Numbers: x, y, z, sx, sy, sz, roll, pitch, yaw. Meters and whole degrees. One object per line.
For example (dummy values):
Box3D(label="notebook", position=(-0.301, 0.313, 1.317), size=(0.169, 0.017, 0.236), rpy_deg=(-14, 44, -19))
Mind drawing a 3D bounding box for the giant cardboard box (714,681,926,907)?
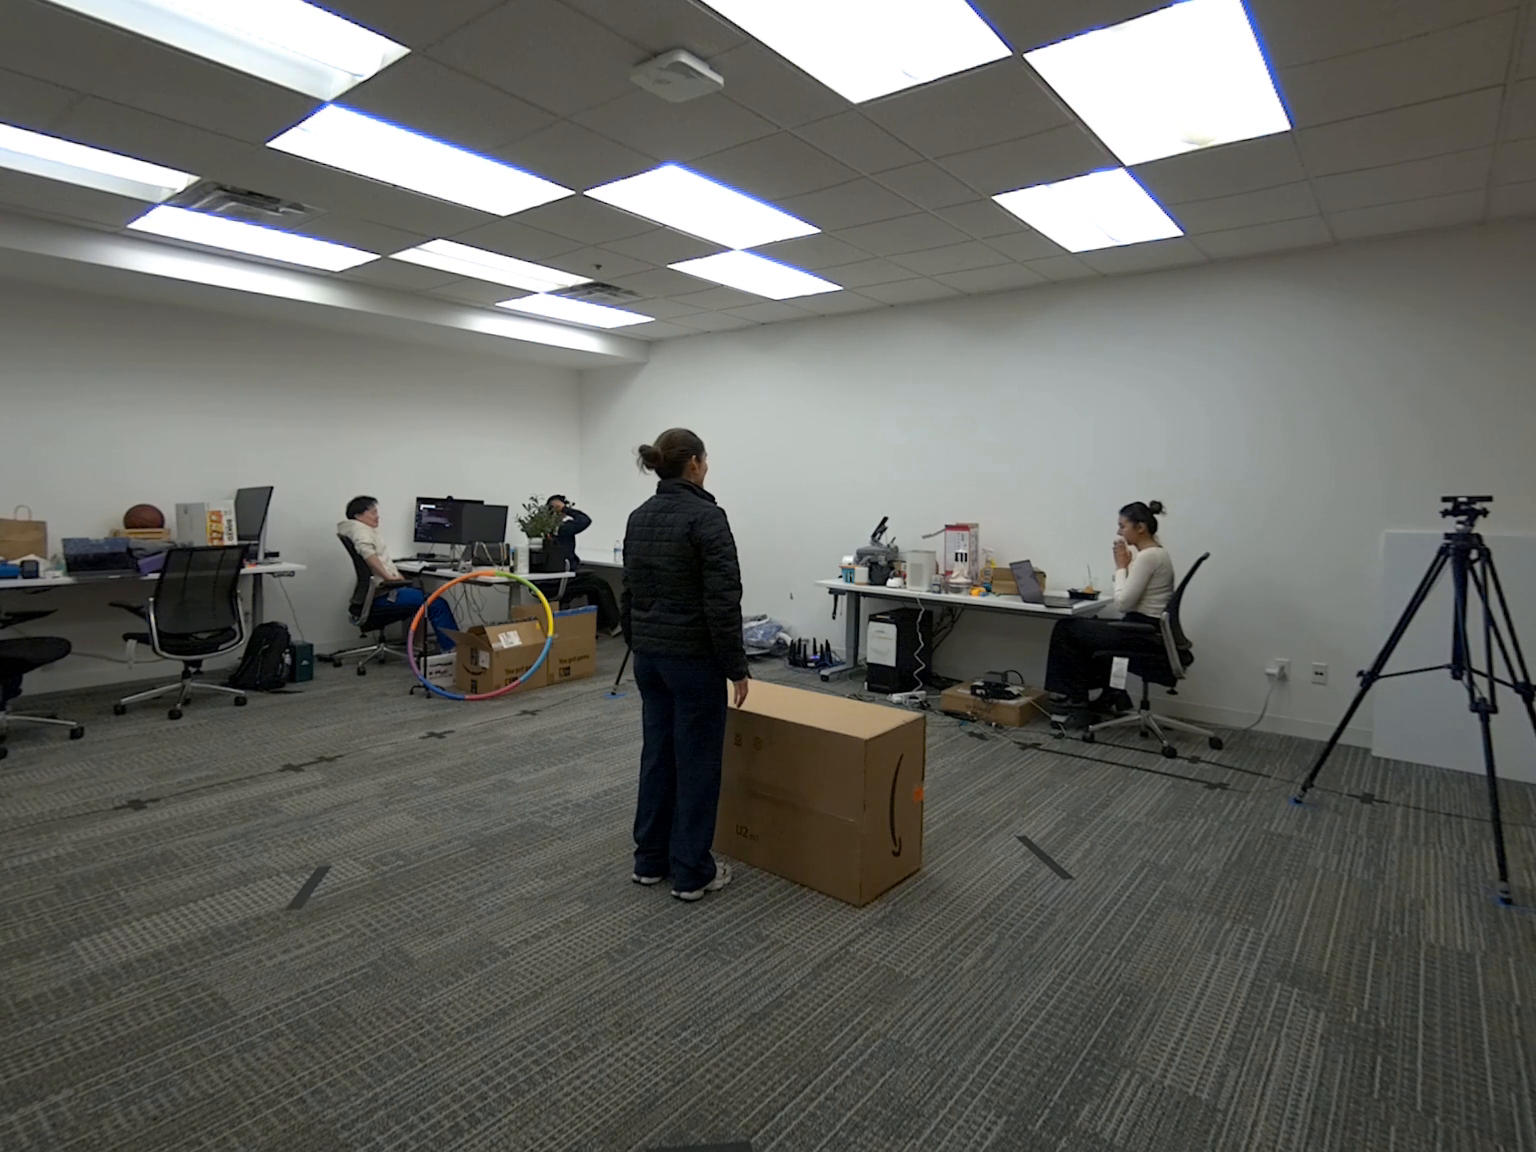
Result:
Box3D(label="giant cardboard box", position=(0.062, 0.763, 3.317), size=(1.062, 0.581, 0.434), rpy_deg=(6, 7, 41))
